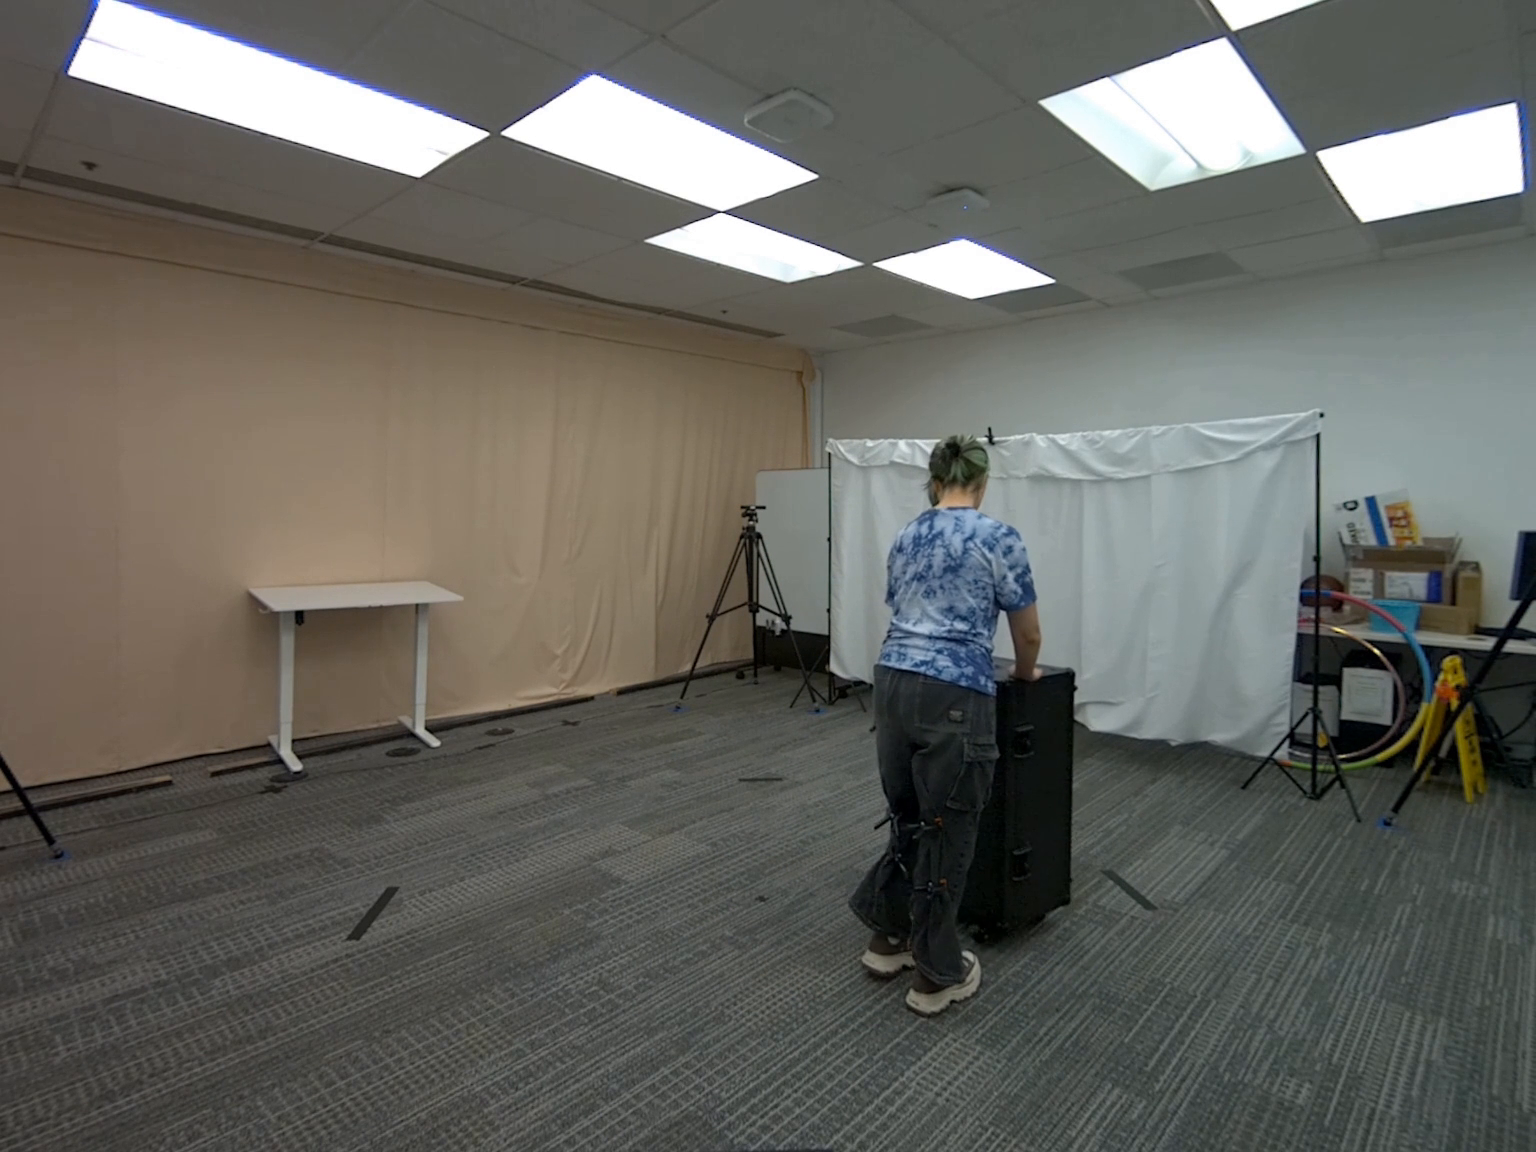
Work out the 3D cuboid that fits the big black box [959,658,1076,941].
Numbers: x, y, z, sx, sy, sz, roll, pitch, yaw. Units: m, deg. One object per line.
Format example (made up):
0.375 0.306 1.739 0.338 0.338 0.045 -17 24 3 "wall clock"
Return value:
0.730 0.723 2.882 0.385 0.860 0.538 -2 3 -36 "big black box"
